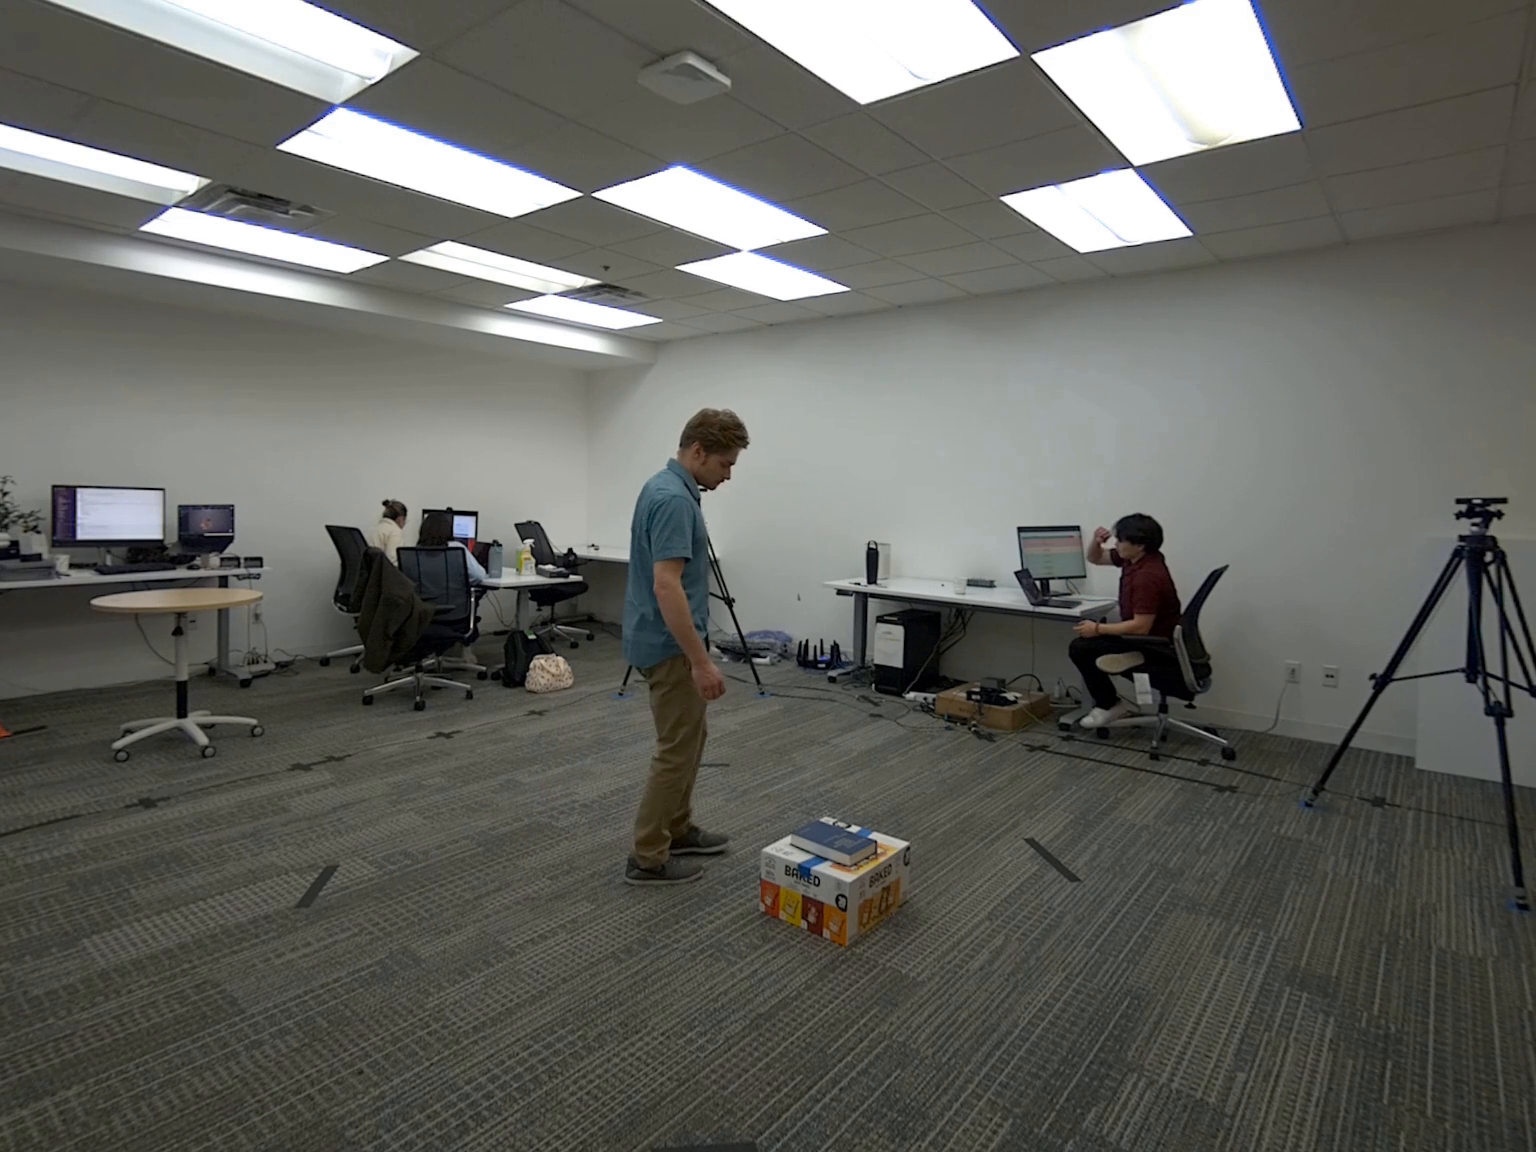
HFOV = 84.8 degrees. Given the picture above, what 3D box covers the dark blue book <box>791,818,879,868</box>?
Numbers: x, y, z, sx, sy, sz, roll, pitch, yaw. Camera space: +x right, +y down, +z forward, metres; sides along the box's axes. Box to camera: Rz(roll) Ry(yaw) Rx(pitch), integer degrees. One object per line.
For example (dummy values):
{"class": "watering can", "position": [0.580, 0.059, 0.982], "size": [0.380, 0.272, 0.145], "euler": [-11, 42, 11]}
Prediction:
{"class": "dark blue book", "position": [0.218, 0.894, 2.830], "size": [0.253, 0.045, 0.158], "euler": [6, 8, 40]}
